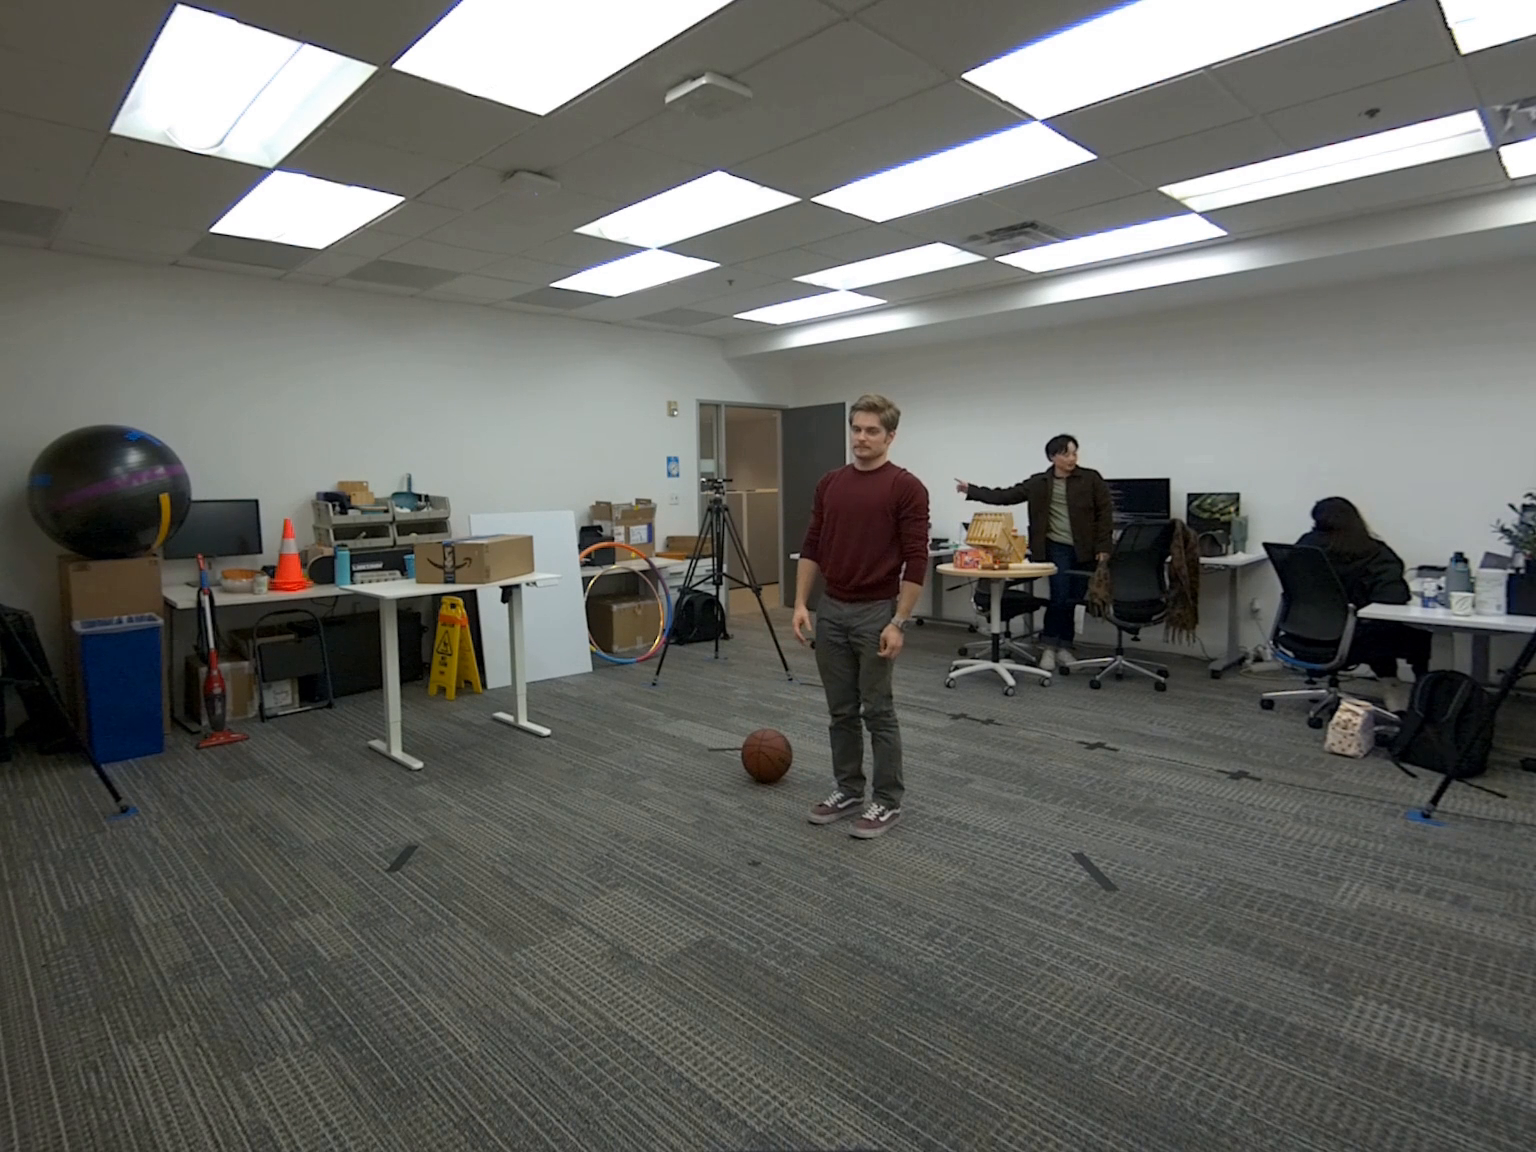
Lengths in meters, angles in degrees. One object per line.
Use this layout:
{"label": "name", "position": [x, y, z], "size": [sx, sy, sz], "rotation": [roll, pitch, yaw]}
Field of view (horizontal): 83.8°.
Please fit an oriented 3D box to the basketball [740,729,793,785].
{"label": "basketball", "position": [-0.006, 0.829, 3.965], "size": [0.236, 0.235, 0.237], "rotation": [-1, 5, -2]}
